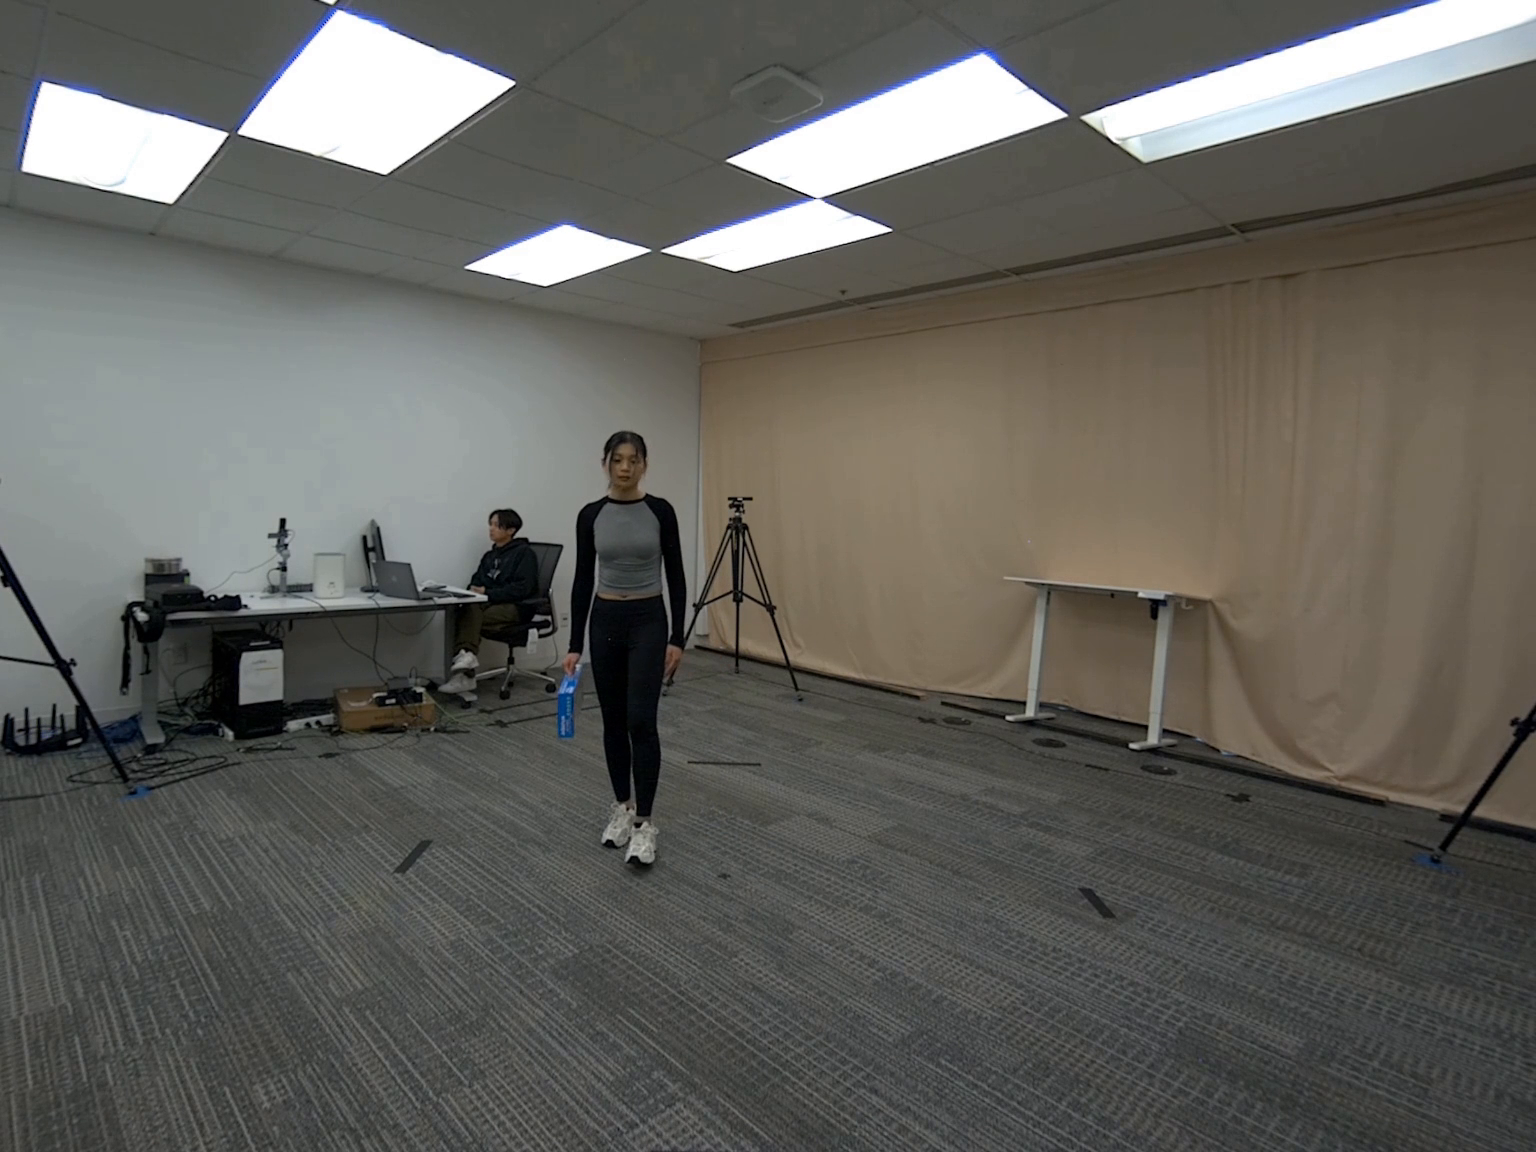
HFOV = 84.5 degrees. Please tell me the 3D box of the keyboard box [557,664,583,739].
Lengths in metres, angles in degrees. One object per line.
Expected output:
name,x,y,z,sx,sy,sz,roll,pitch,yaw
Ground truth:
keyboard box,-0.787,0.486,3.355,0.059,0.175,0.442,0,8,-9
